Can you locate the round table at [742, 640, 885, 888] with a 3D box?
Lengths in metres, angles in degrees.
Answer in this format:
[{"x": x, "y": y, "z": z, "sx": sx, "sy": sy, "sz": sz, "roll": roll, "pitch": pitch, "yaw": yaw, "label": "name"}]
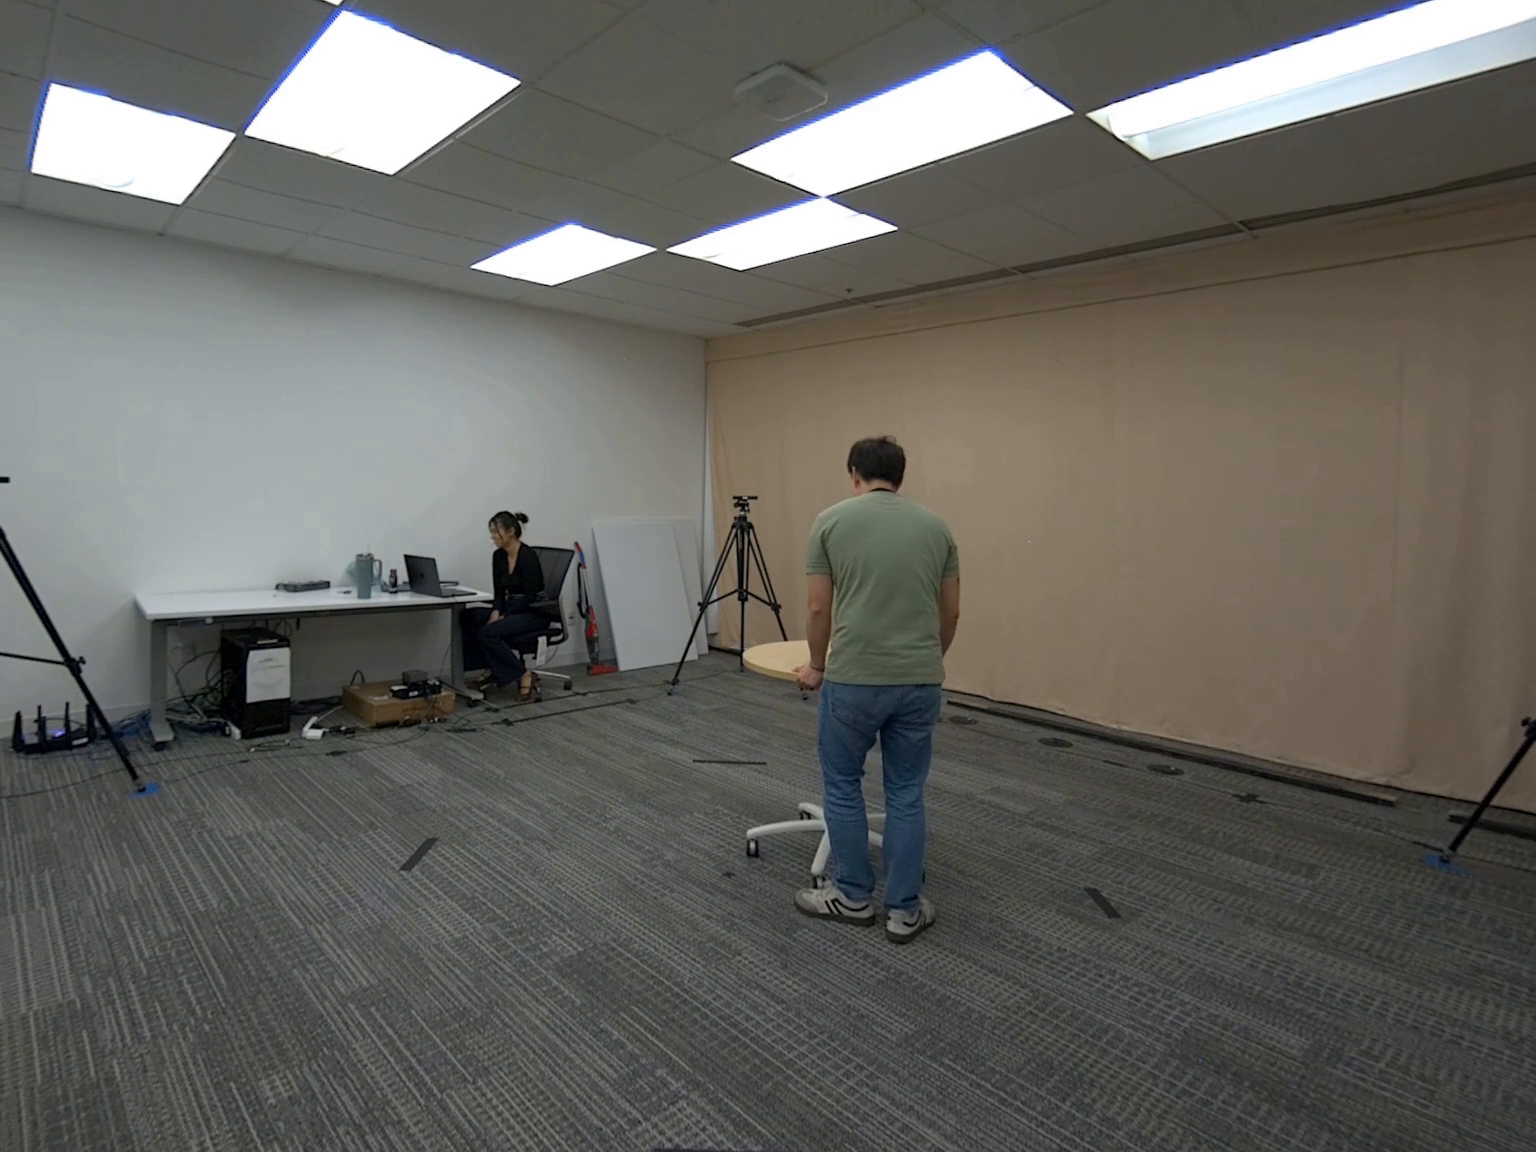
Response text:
[{"x": 0.270, "y": 0.711, "z": 3.282, "sx": 0.763, "sy": 0.792, "sz": 0.767, "roll": 2, "pitch": 4, "yaw": -1, "label": "round table"}]
